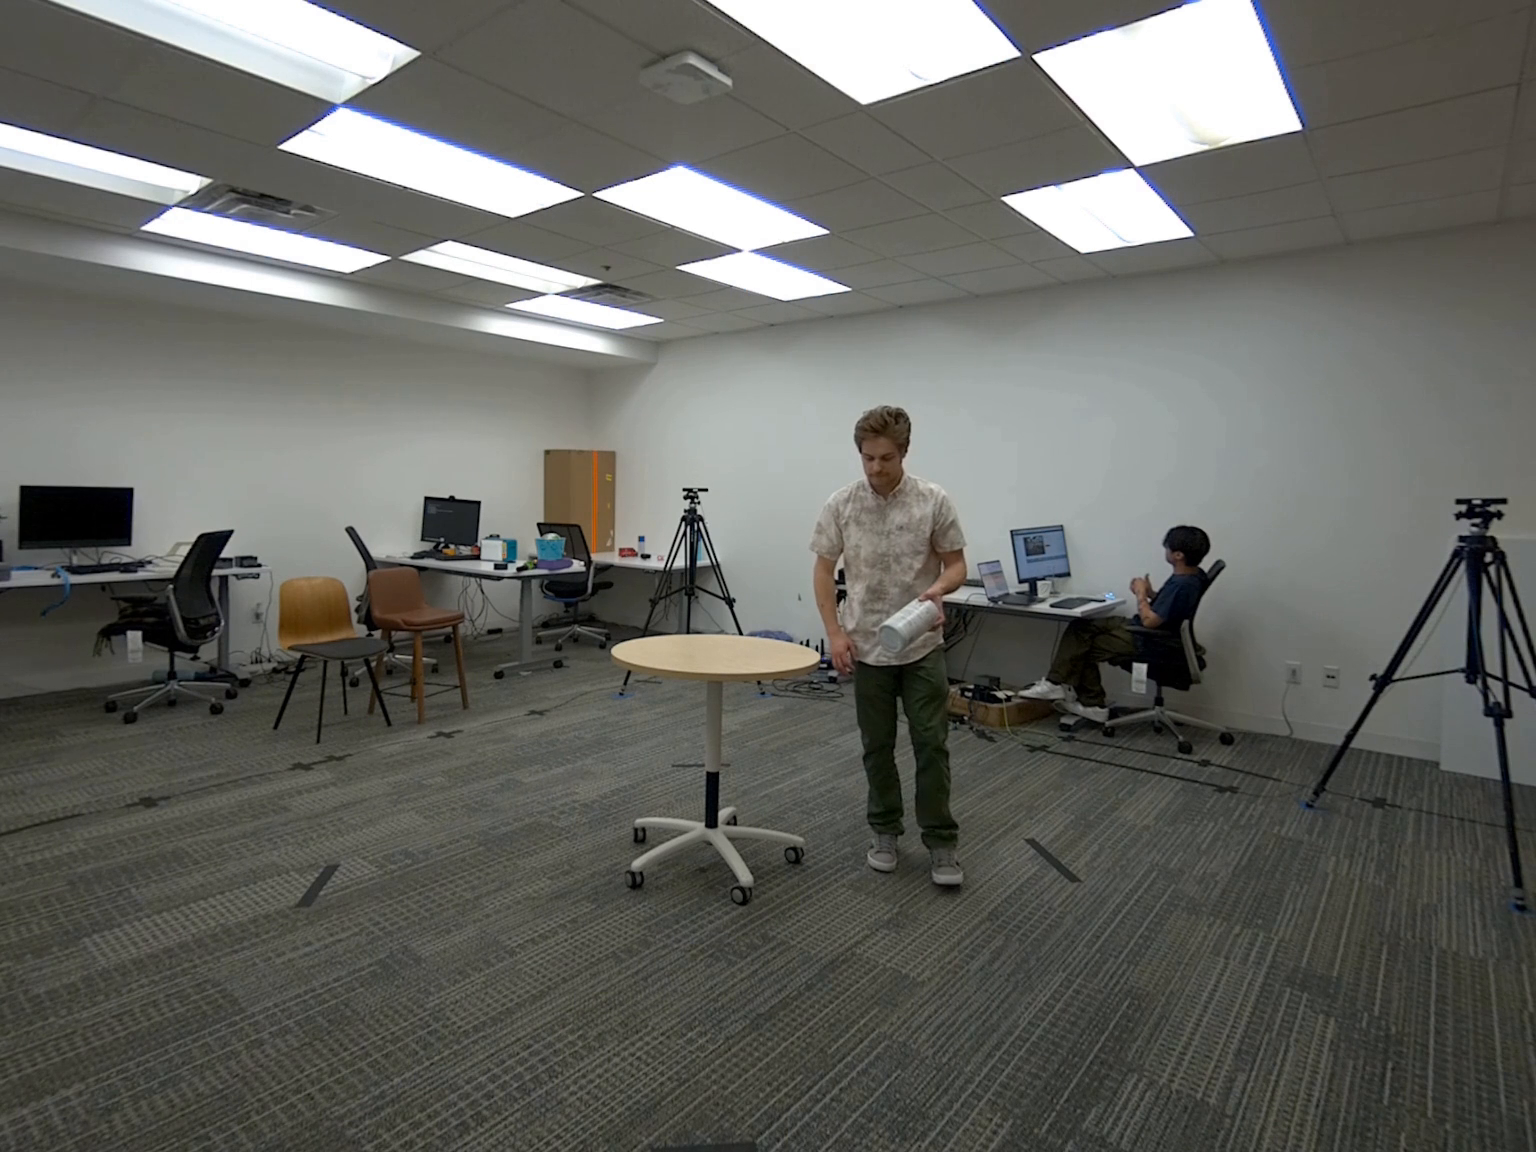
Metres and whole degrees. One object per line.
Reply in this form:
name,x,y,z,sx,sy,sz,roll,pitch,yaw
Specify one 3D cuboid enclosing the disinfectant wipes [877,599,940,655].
disinfectant wipes,0.459,0.160,2.832,0.215,0.115,0.122,-31,24,-37
